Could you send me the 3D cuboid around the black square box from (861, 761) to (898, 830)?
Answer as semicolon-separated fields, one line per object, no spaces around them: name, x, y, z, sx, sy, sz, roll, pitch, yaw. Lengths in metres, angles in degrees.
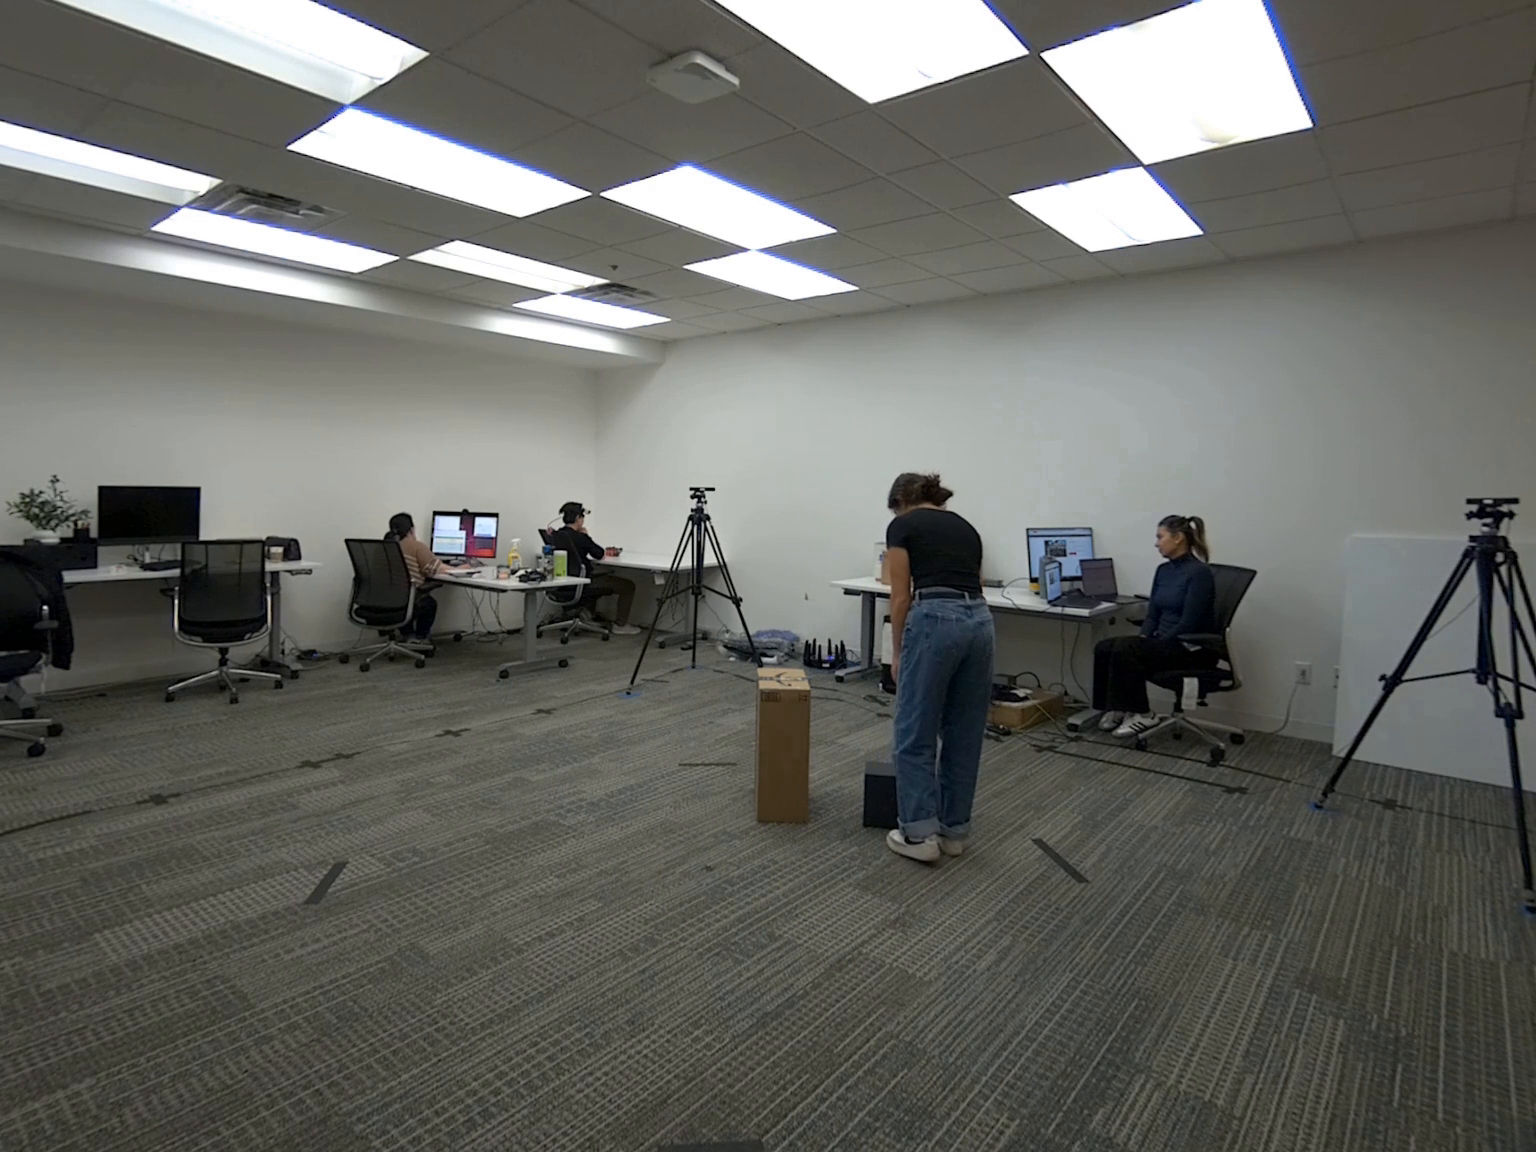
black square box;0.508;0.915;3.581;0.219;0.227;0.155;3;5;9
